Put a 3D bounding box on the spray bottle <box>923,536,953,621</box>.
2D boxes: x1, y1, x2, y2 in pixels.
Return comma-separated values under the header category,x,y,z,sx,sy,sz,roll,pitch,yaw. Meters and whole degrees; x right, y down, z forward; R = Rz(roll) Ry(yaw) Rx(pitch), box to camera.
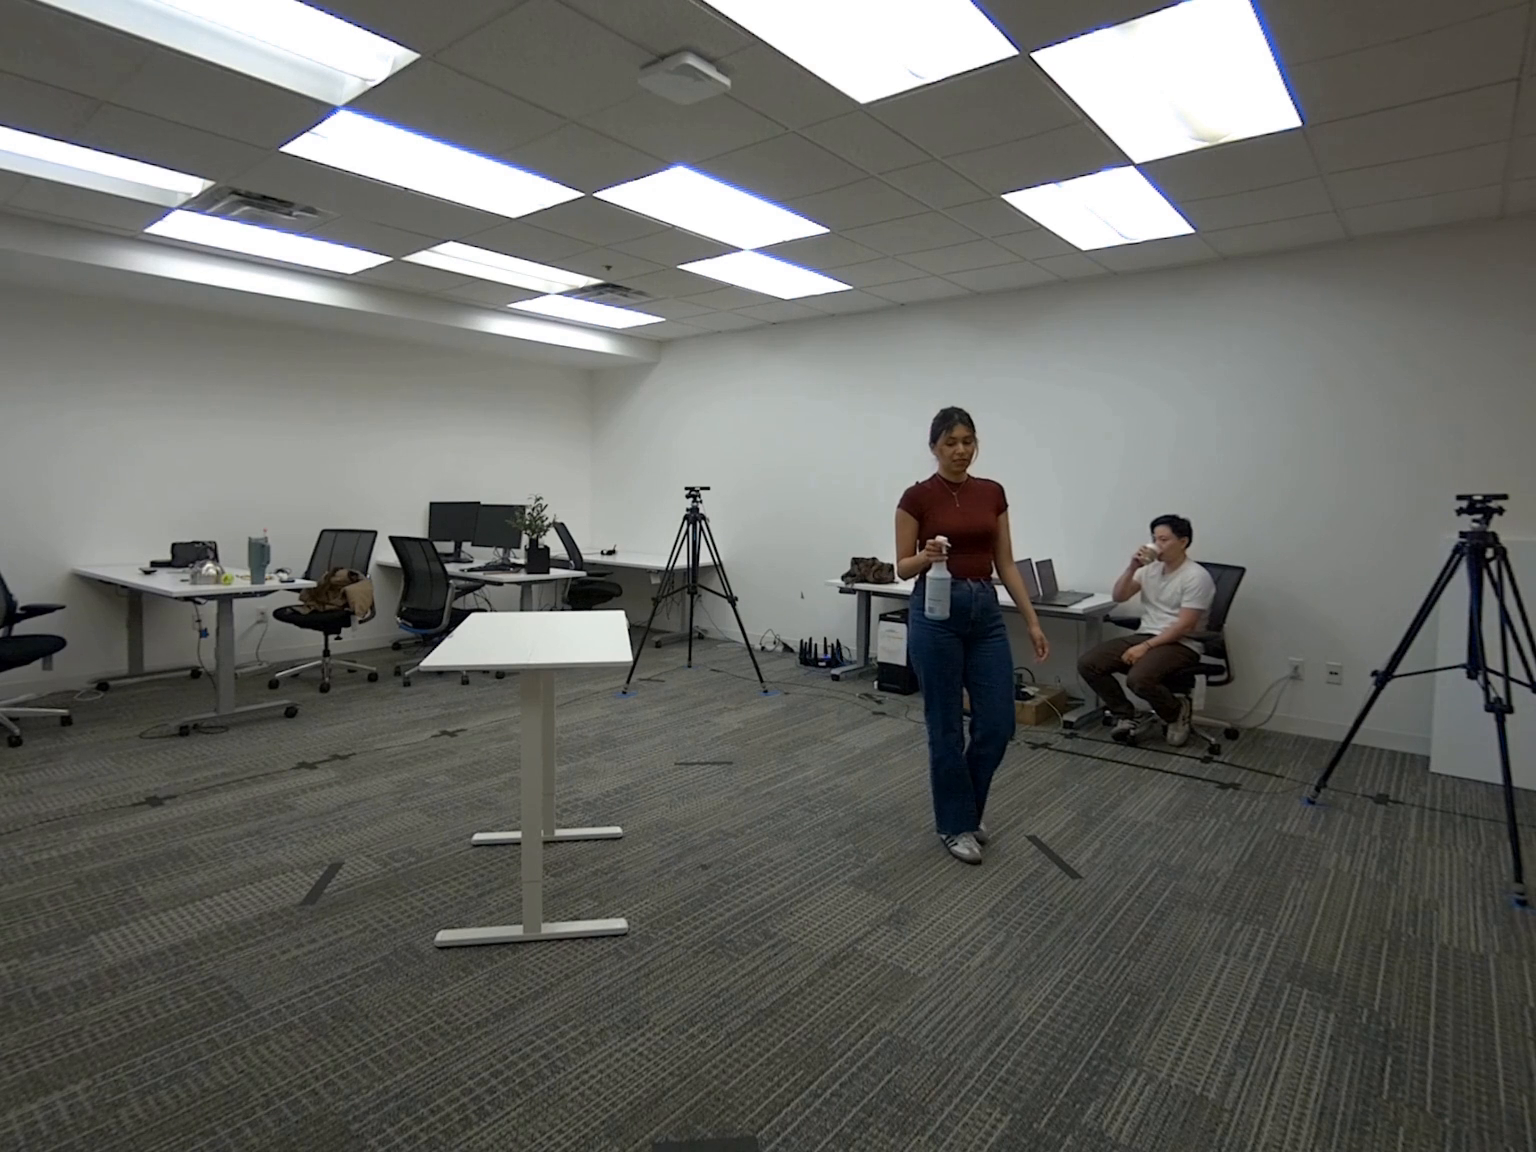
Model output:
category,x,y,z,sx,sy,sz,roll,pitch,yaw
spray bottle,0.591,0.001,3.035,0.088,0.294,0.089,6,11,14
